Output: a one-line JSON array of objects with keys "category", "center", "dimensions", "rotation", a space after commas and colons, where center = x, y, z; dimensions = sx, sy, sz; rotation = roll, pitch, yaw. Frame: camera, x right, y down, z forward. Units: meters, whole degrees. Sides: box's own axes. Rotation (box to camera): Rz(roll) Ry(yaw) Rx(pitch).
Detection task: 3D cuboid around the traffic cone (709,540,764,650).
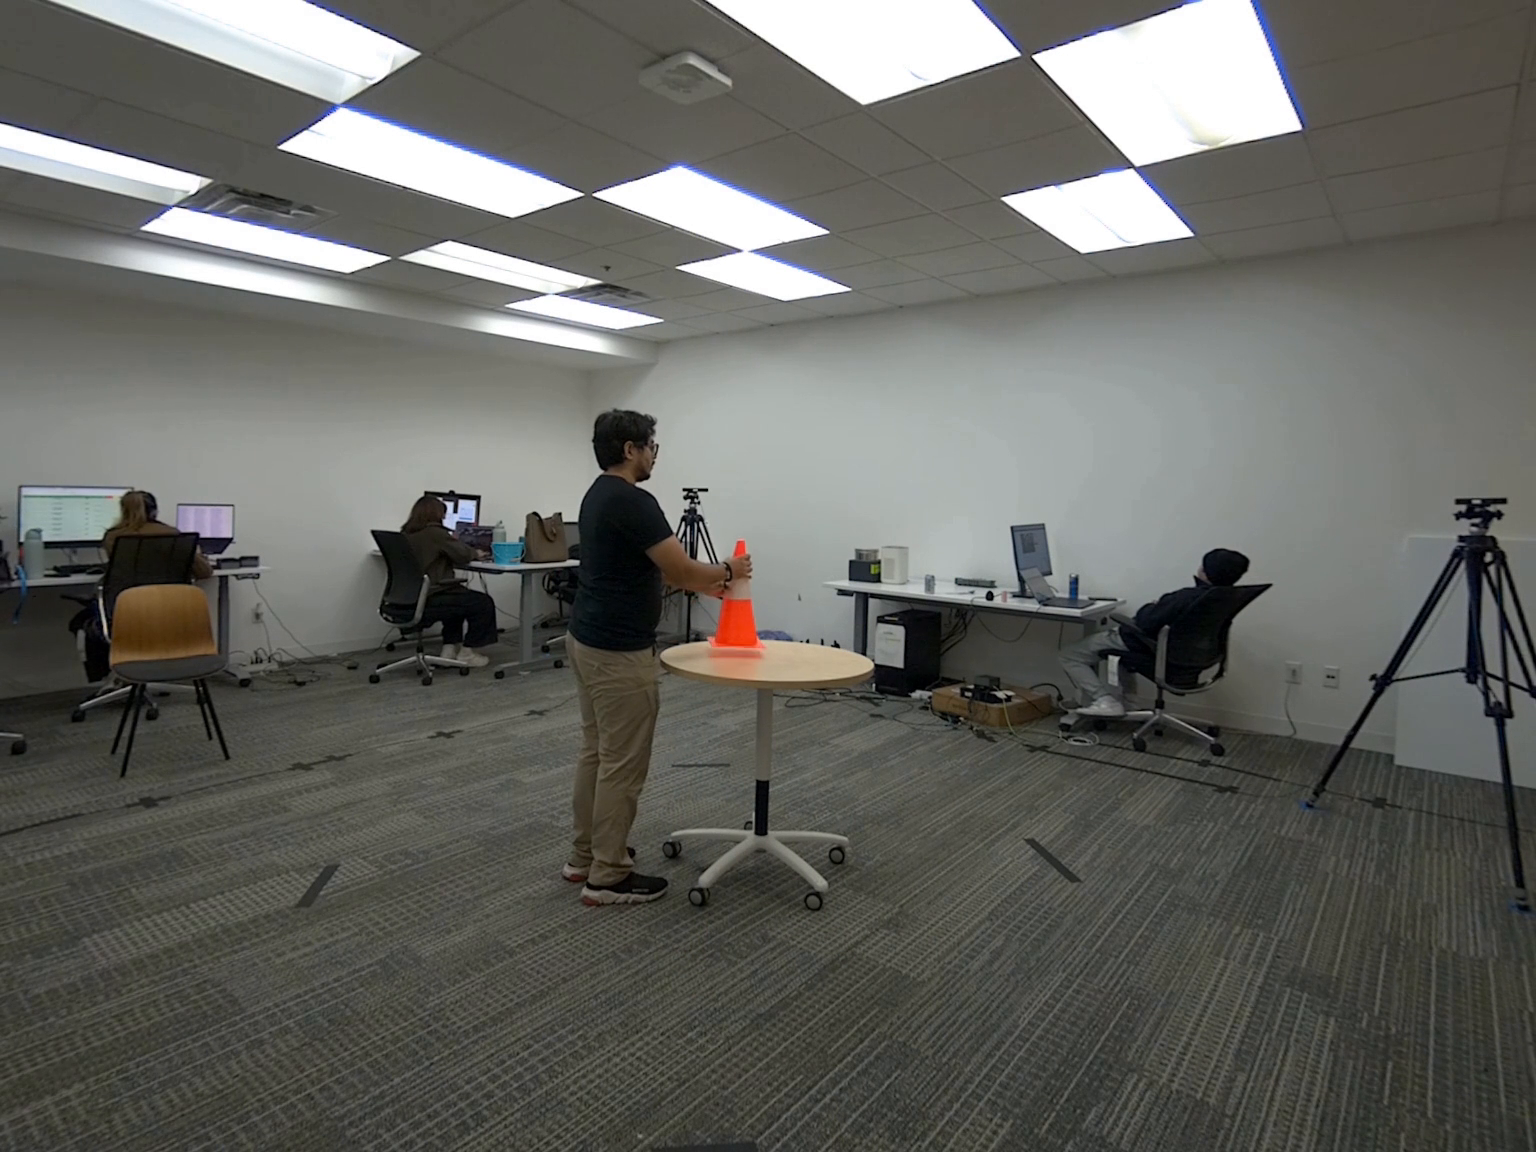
[{"category": "traffic cone", "center": [-0.122, 0.059, 3.129], "dimensions": [0.203, 0.382, 0.206], "rotation": [4, 3, -11]}]
